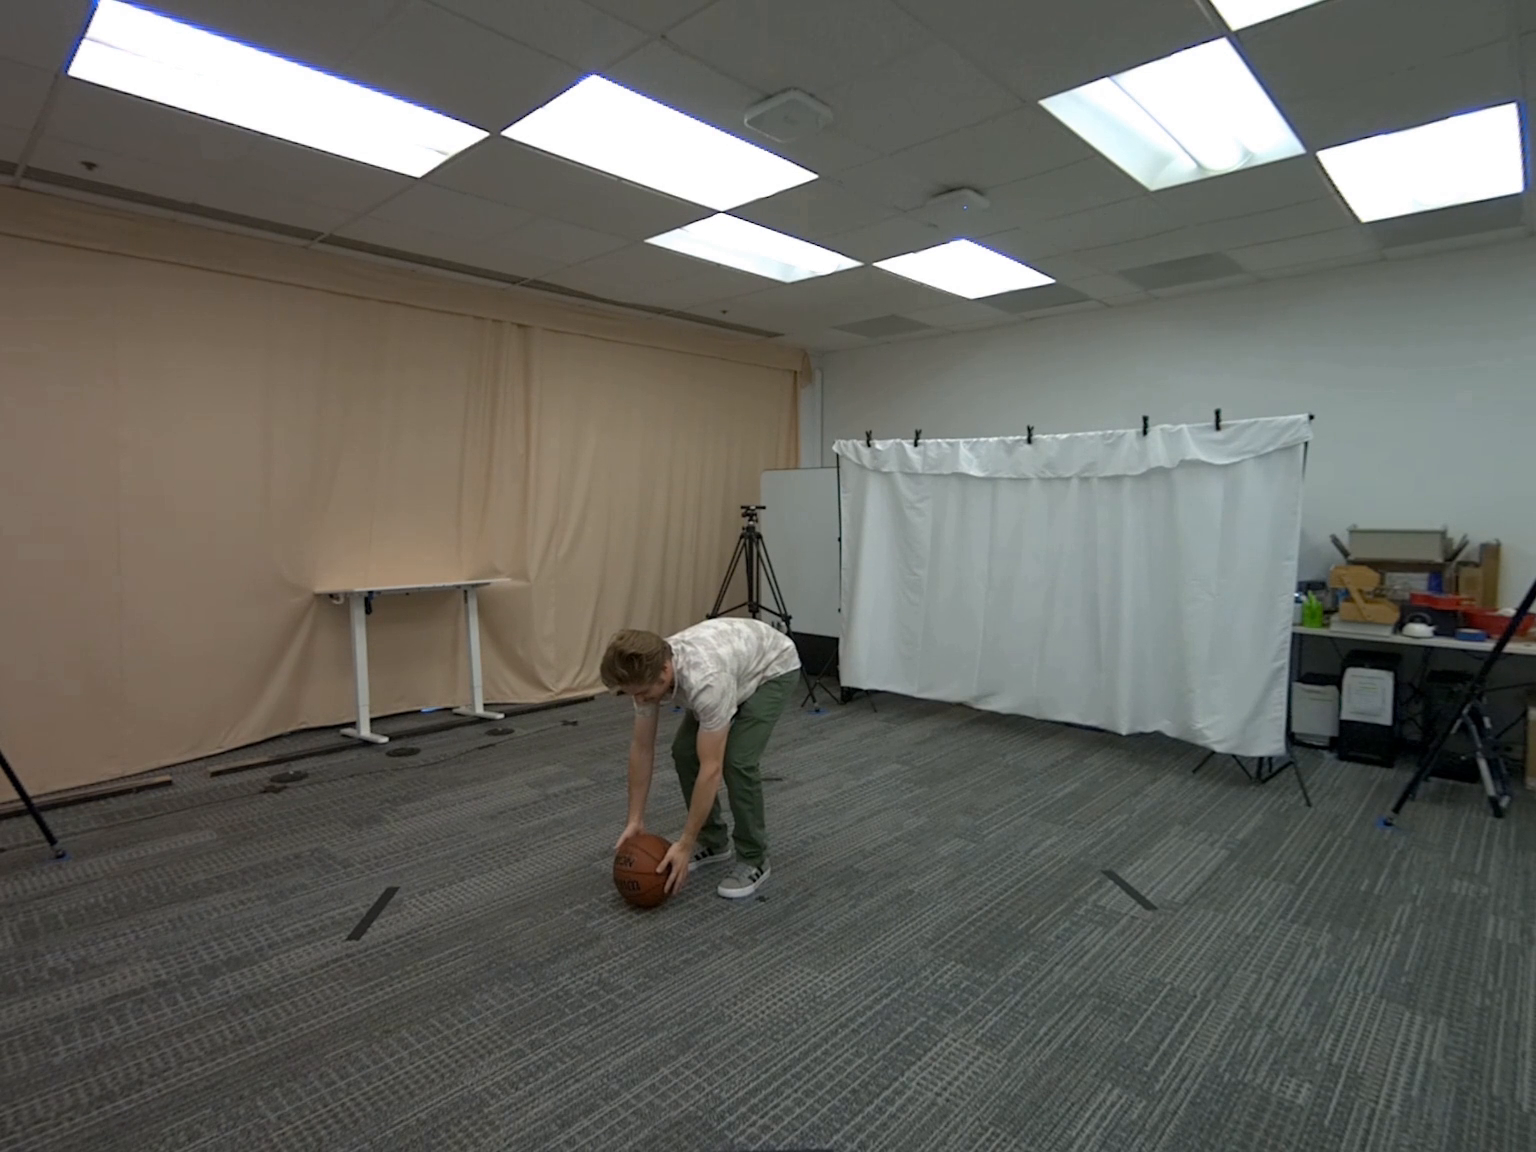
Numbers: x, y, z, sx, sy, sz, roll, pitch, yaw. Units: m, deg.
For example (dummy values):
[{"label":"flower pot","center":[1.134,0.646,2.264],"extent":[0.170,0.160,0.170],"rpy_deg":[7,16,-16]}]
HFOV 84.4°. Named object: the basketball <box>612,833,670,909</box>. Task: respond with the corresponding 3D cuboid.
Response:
[{"label":"basketball","center":[-0.421,1.021,2.955],"extent":[0.236,0.235,0.237],"rpy_deg":[0,4,-2]}]
